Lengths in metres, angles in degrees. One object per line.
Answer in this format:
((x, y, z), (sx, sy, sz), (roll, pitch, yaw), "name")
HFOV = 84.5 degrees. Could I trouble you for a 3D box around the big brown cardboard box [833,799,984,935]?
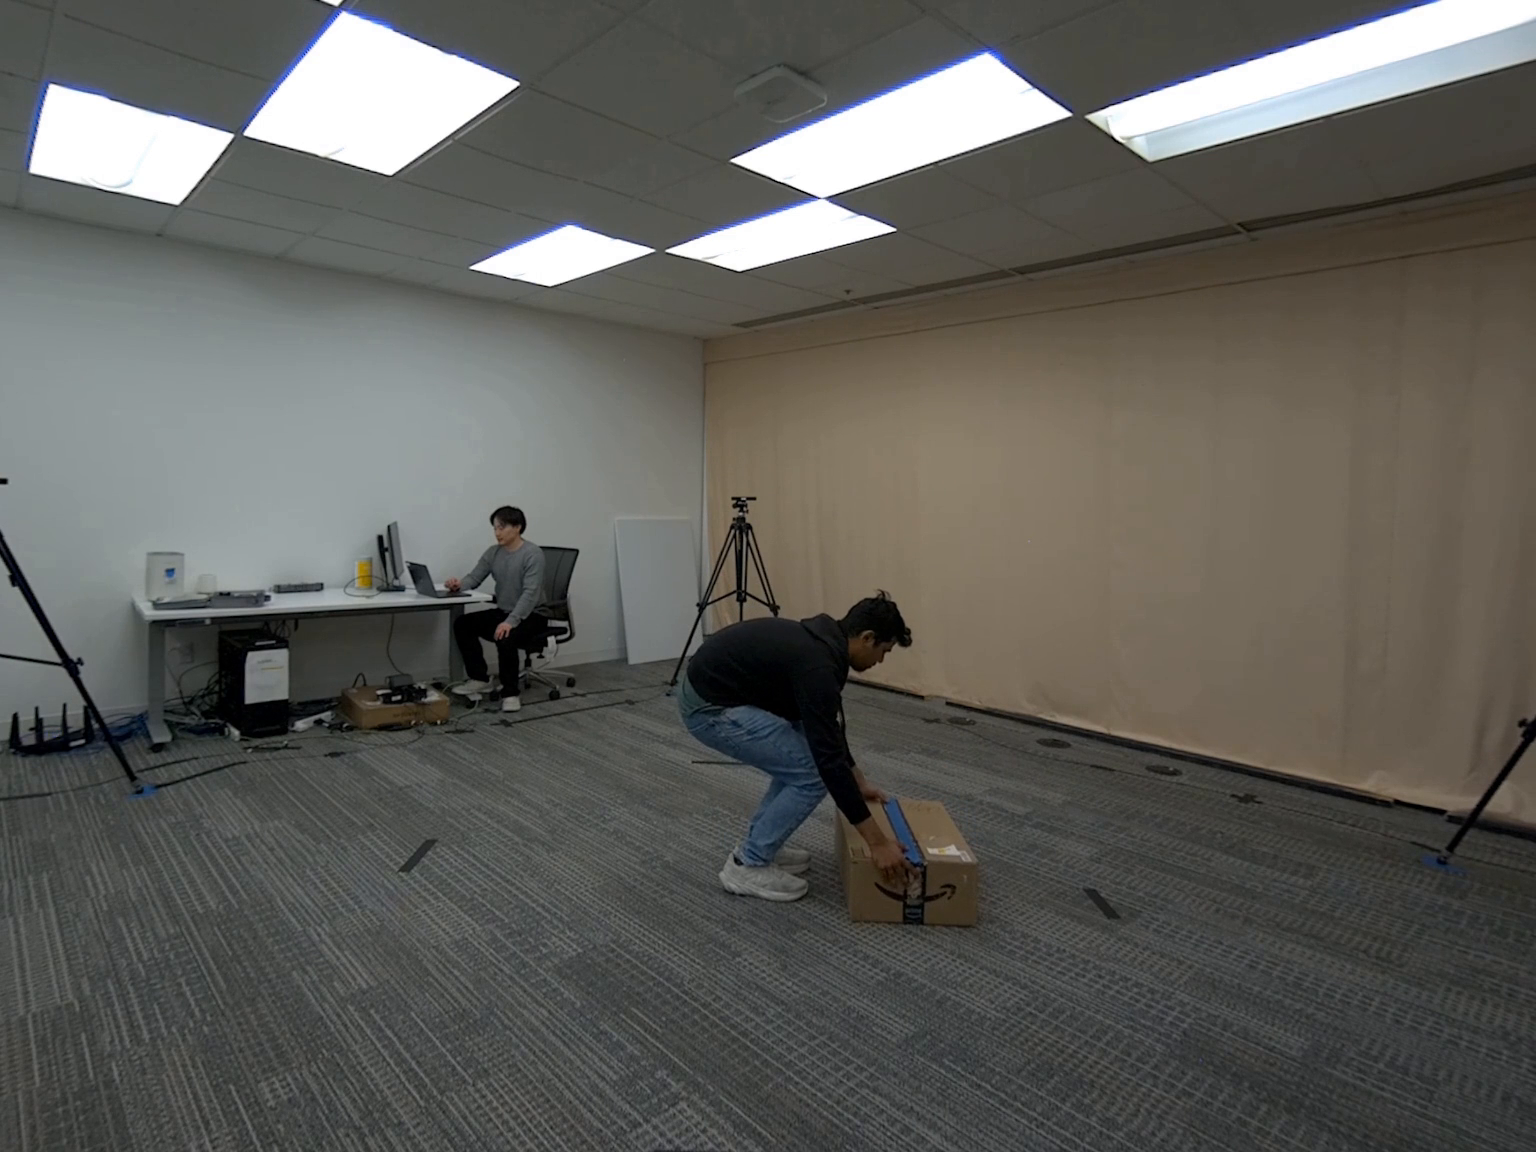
((0.476, 1.018, 3.040), (0.417, 0.232, 0.590), (2, 4, -1), "big brown cardboard box")
